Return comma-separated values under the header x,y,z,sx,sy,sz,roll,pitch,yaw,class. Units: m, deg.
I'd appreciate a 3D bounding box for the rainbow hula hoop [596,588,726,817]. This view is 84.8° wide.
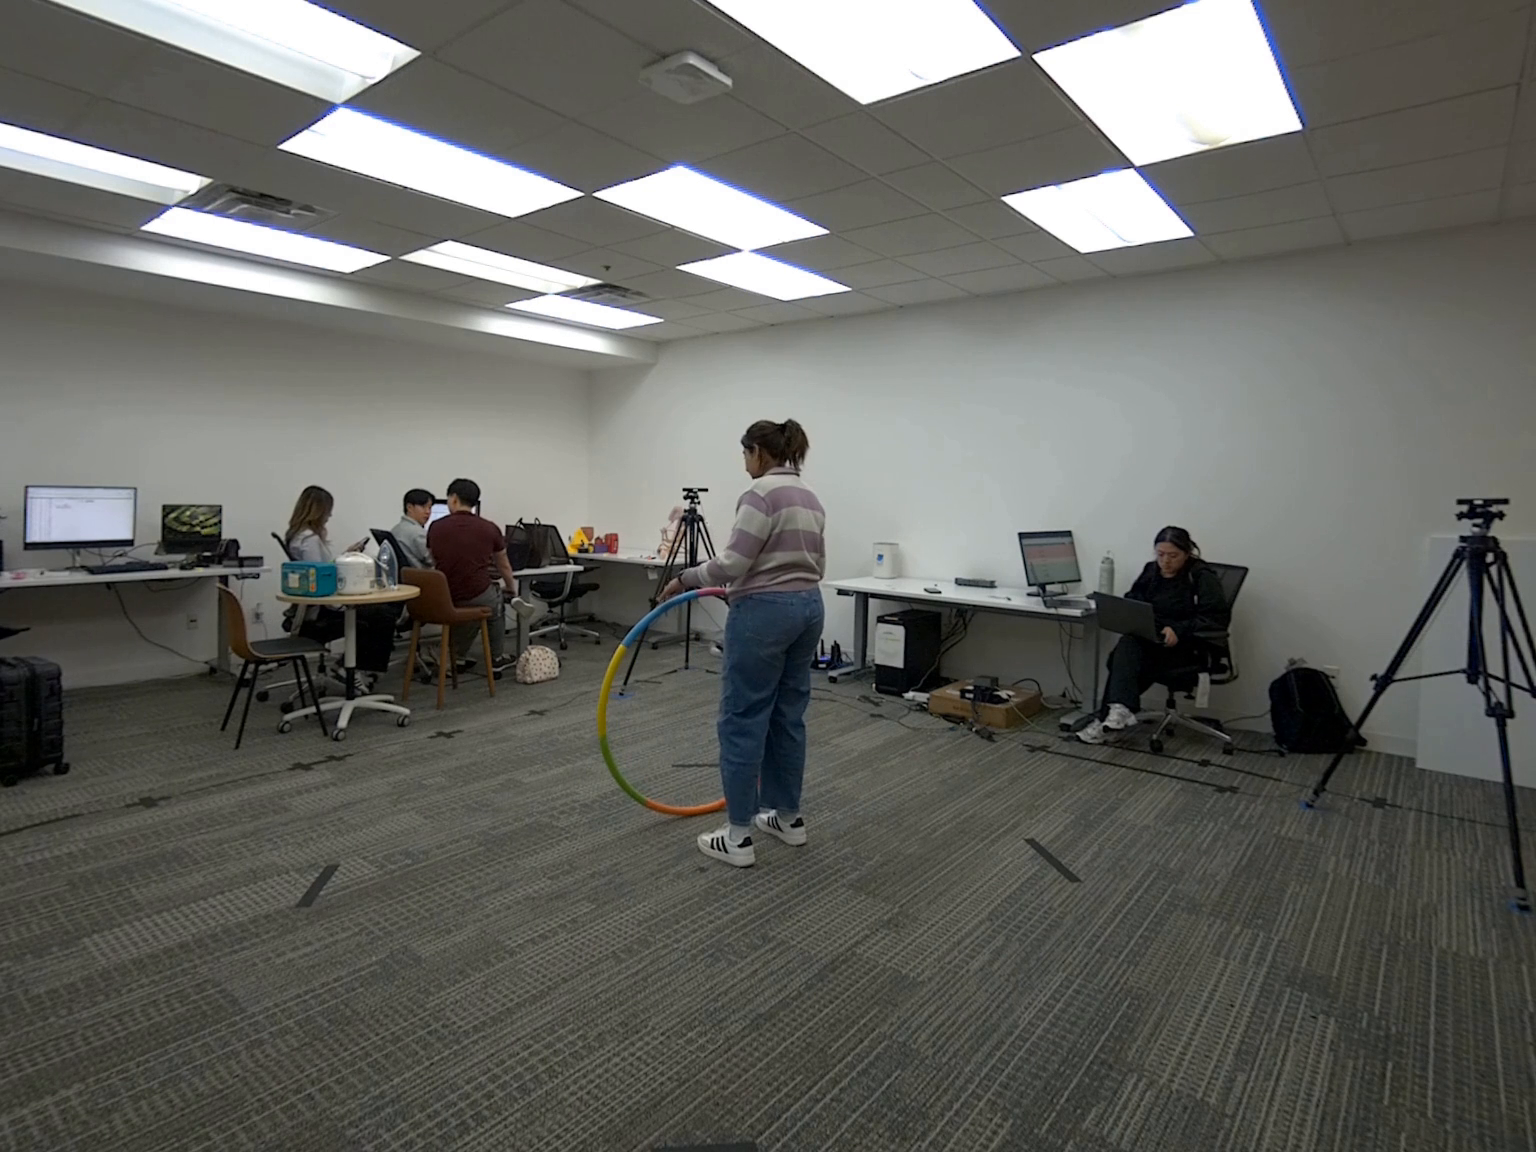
x,y,z,sx,sy,sz,roll,pitch,yaw,class
-0.272,0.534,3.597,0.959,0.979,0.053,-1,7,-30,rainbow hula hoop
